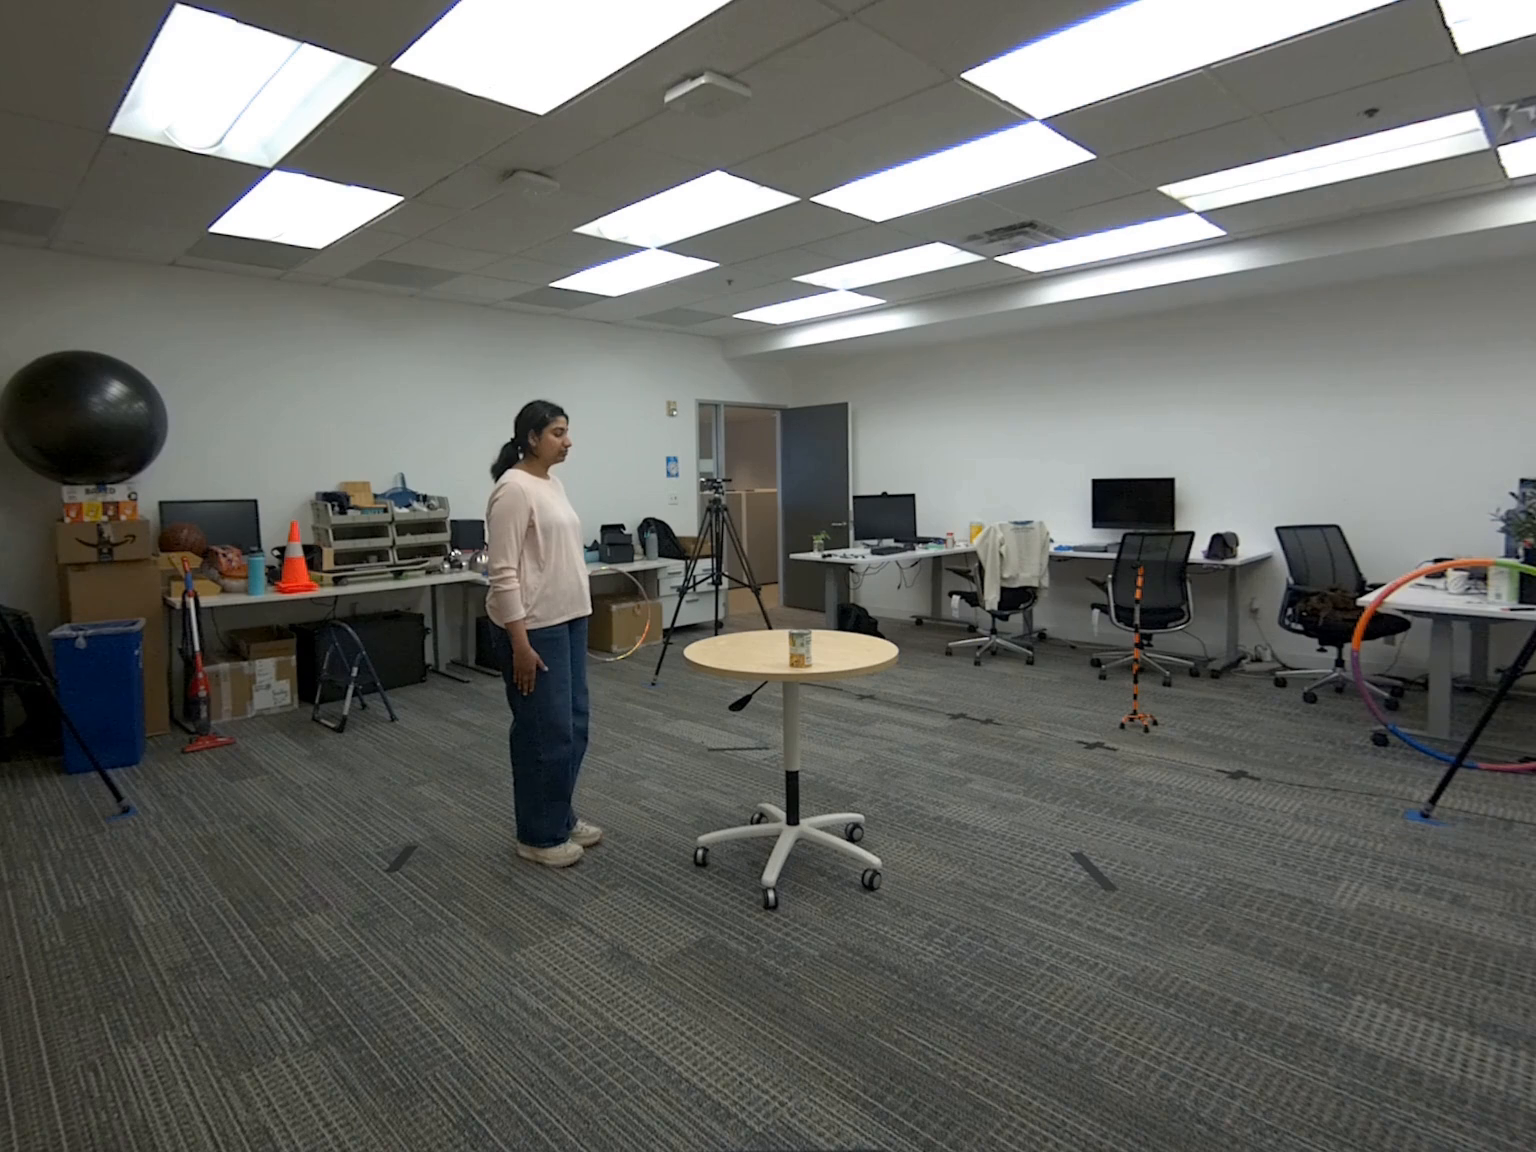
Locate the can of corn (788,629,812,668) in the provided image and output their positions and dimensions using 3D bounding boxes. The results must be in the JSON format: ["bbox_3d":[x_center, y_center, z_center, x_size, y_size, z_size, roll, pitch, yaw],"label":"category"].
[{"bbox_3d":[0.103,0.234,2.792,0.074,0.110,0.074,-1,4,-2],"label":"can of corn"}]
